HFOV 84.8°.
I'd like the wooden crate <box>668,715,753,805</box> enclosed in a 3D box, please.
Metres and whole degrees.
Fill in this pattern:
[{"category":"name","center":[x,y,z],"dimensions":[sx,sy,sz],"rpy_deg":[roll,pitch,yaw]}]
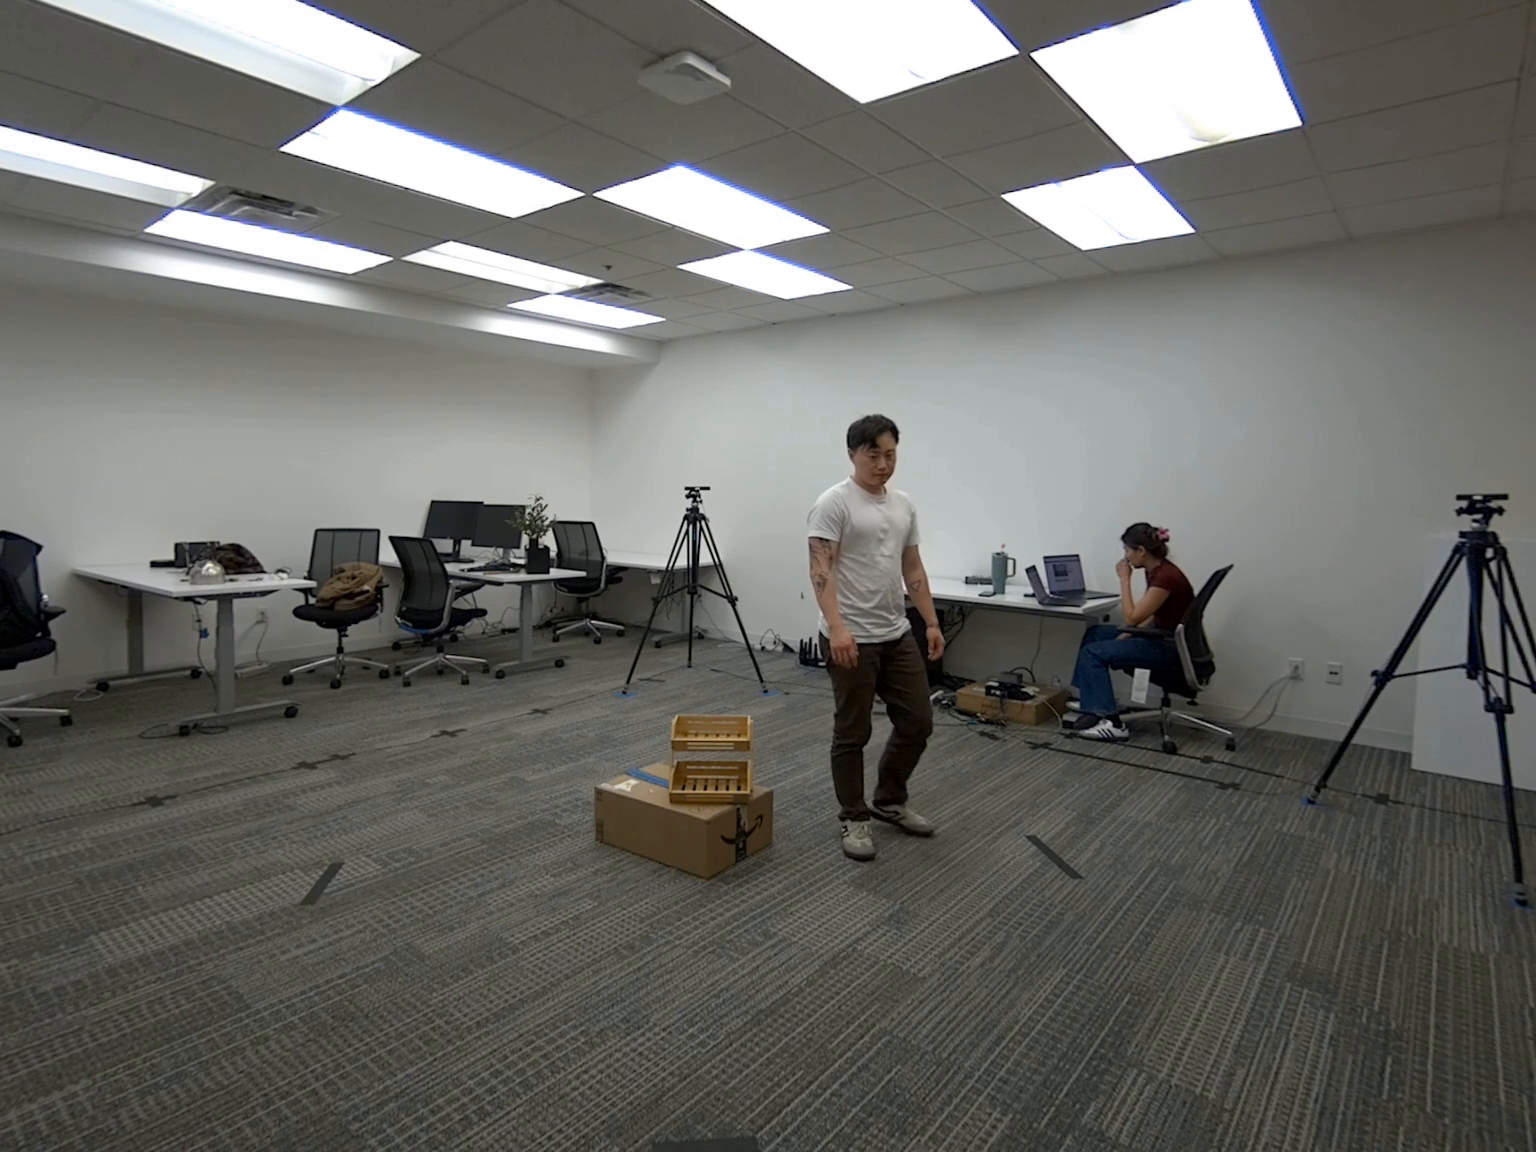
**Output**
[{"category":"wooden crate","center":[-0.231,0.696,3.298],"dimensions":[0.325,0.273,0.302],"rpy_deg":[0,3,1]}]
